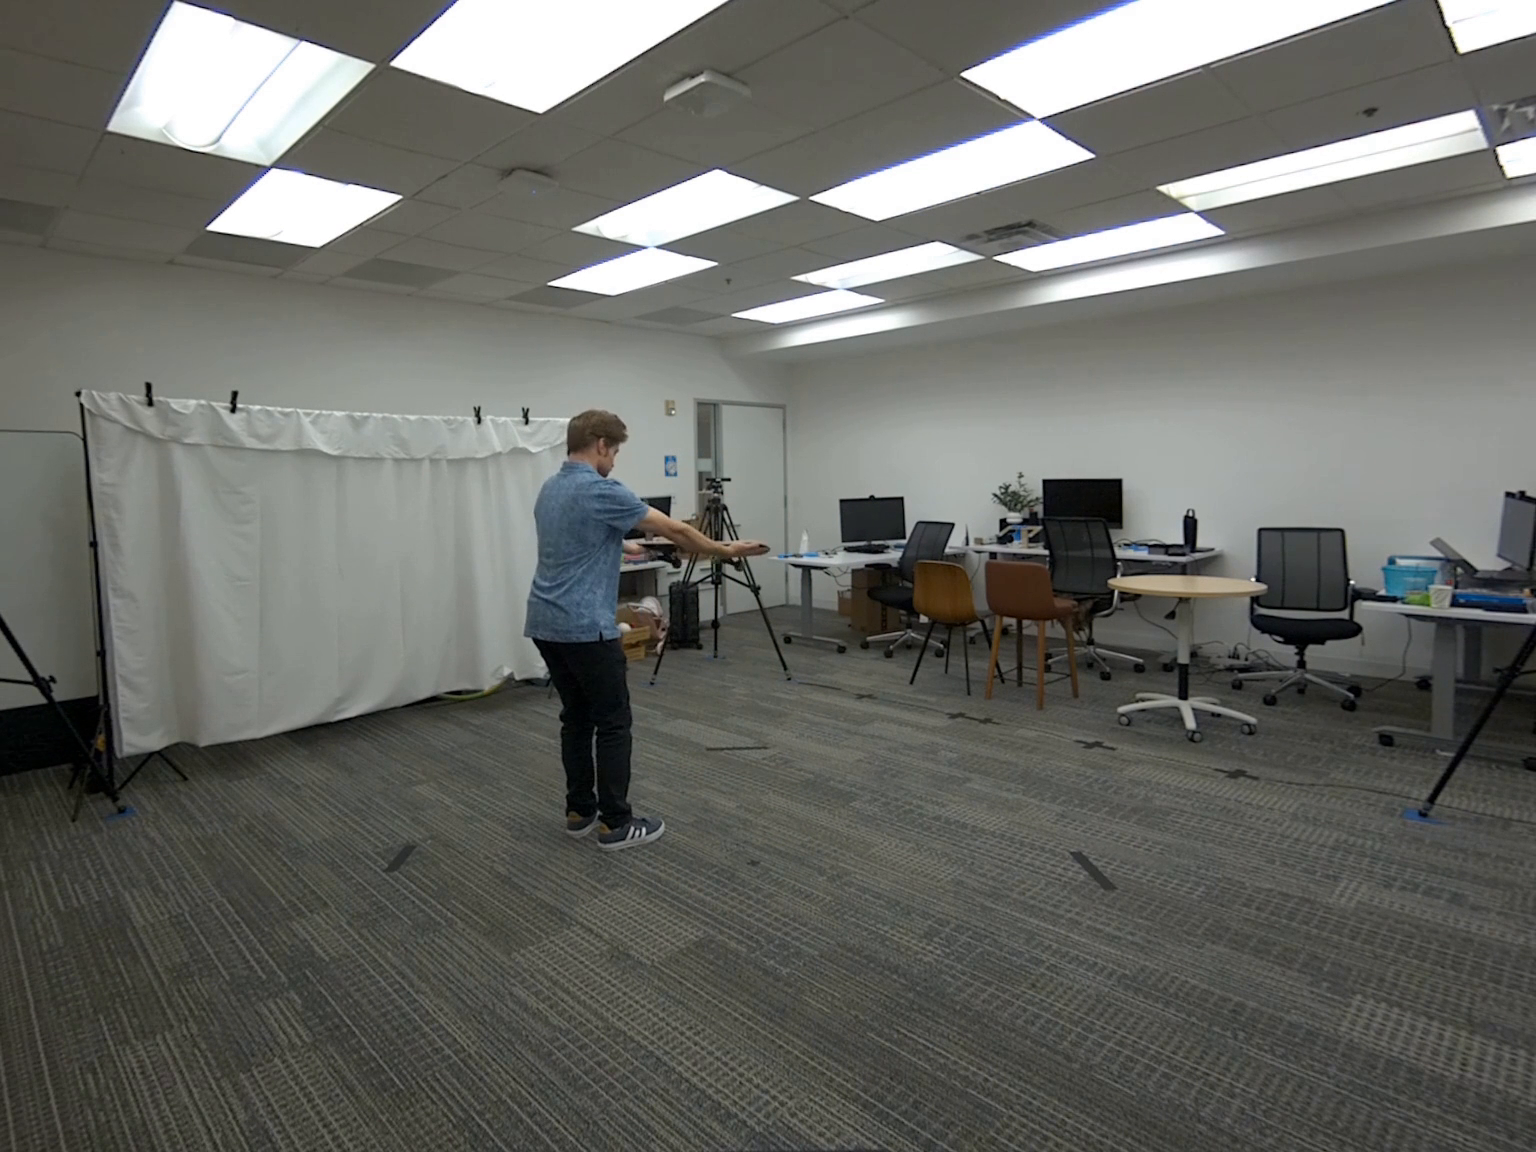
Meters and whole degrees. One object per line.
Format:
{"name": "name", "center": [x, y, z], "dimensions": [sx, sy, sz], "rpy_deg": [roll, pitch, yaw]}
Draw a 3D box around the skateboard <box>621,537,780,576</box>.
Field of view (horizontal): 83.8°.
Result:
{"name": "skateboard", "center": [-0.322, -0.091, 3.739], "dimensions": [0.809, 0.111, 0.186], "rpy_deg": [2, -12, 42]}
